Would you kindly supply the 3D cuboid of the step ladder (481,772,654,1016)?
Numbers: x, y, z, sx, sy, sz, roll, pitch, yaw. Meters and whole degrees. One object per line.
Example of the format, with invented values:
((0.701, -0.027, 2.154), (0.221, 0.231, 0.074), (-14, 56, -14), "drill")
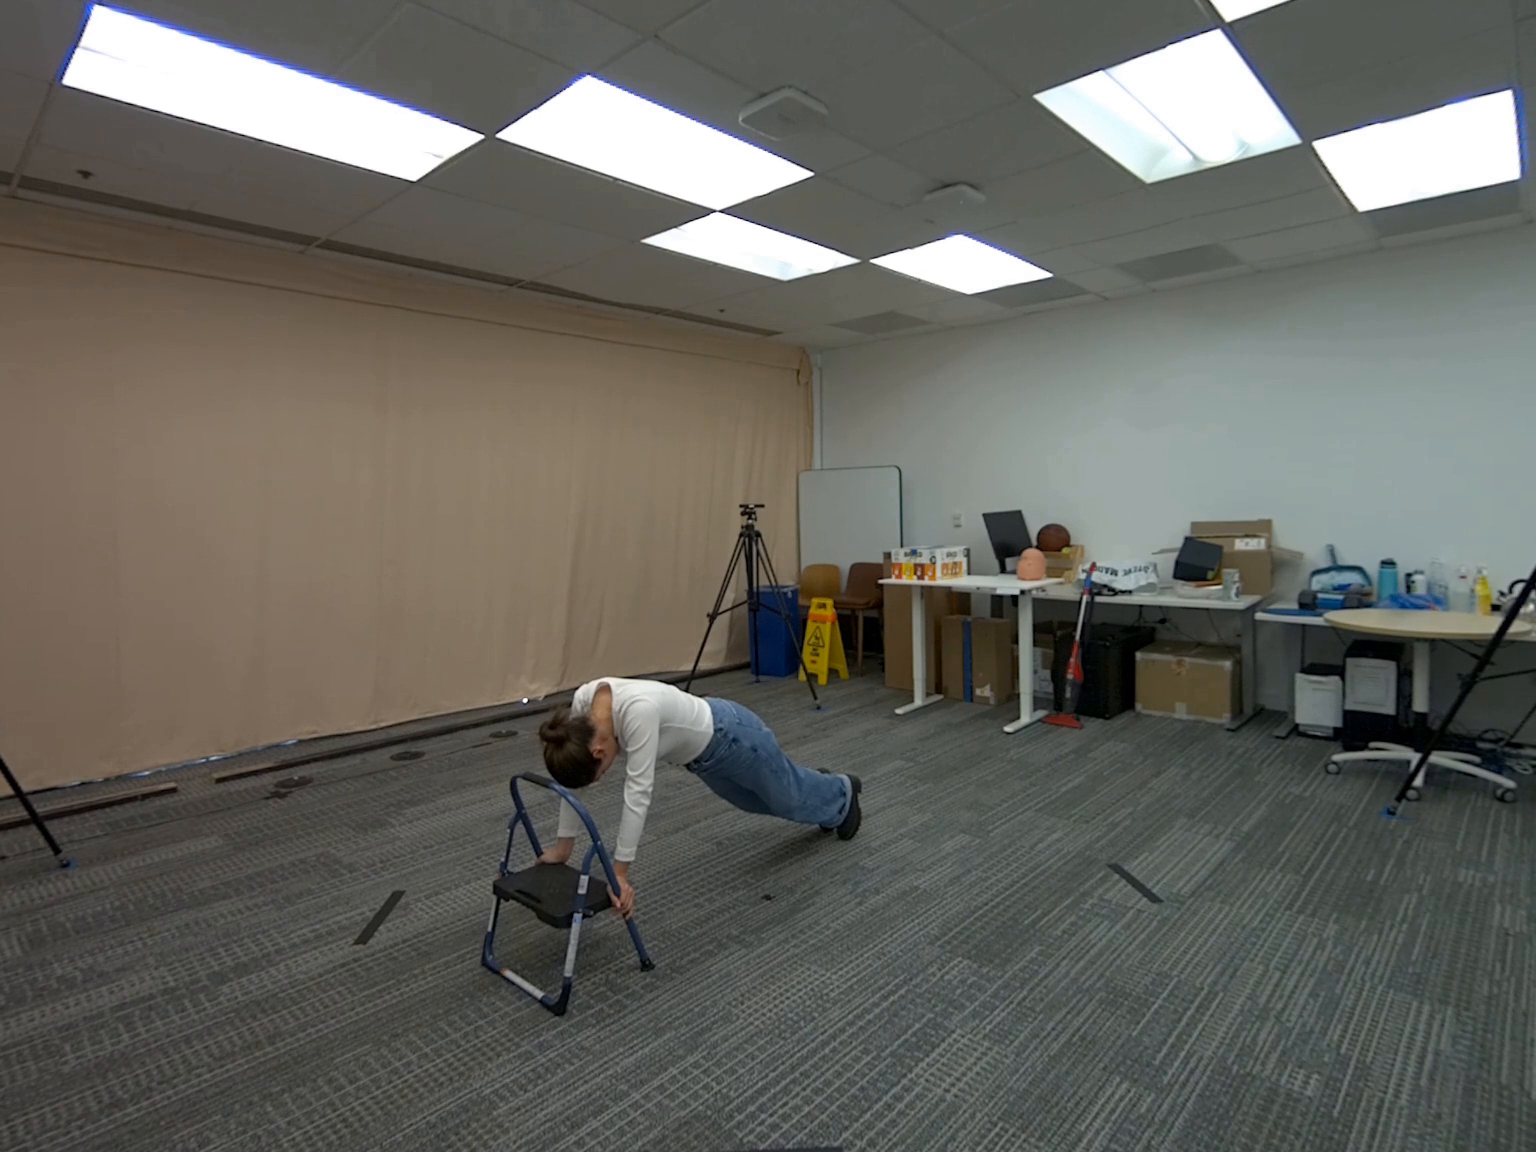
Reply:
((-0.622, 0.891, 2.548), (0.445, 0.605, 0.339), (2, 4, 41), "step ladder")
